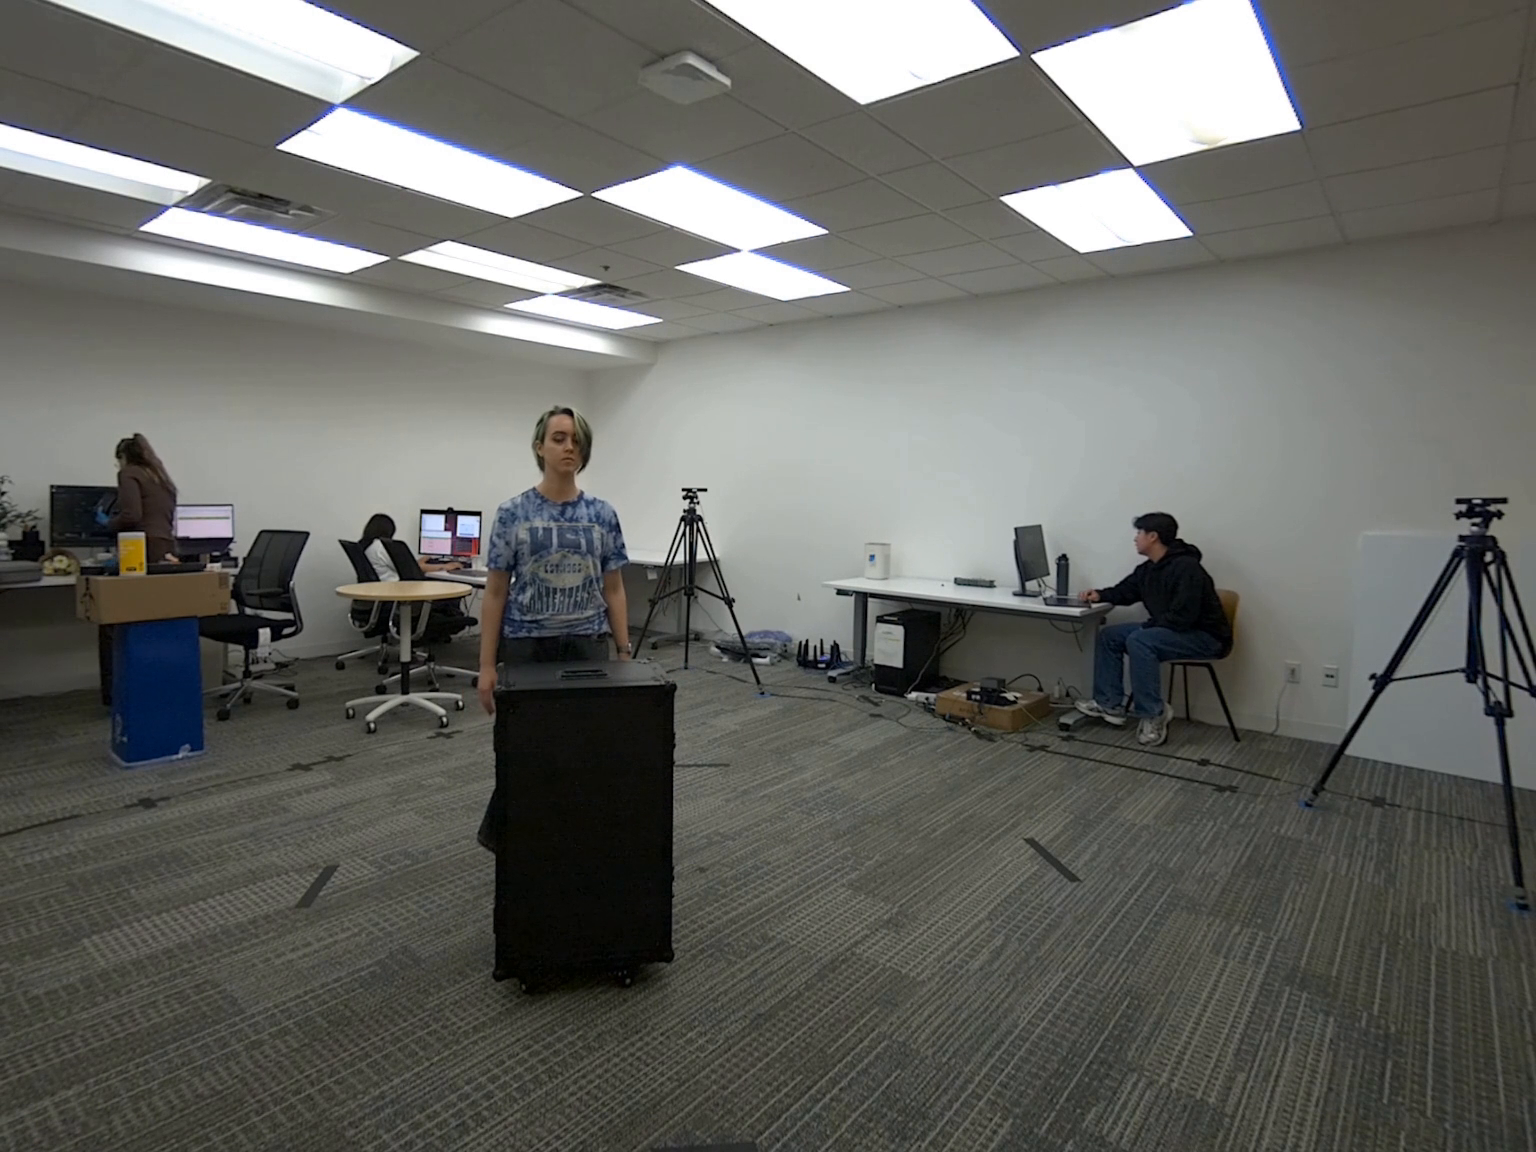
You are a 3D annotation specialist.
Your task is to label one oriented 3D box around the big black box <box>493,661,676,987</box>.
[{"bbox_3d":[-0.553,0.704,2.469,0.514,0.860,0.403,-1,2,-14],"label":"big black box"}]
